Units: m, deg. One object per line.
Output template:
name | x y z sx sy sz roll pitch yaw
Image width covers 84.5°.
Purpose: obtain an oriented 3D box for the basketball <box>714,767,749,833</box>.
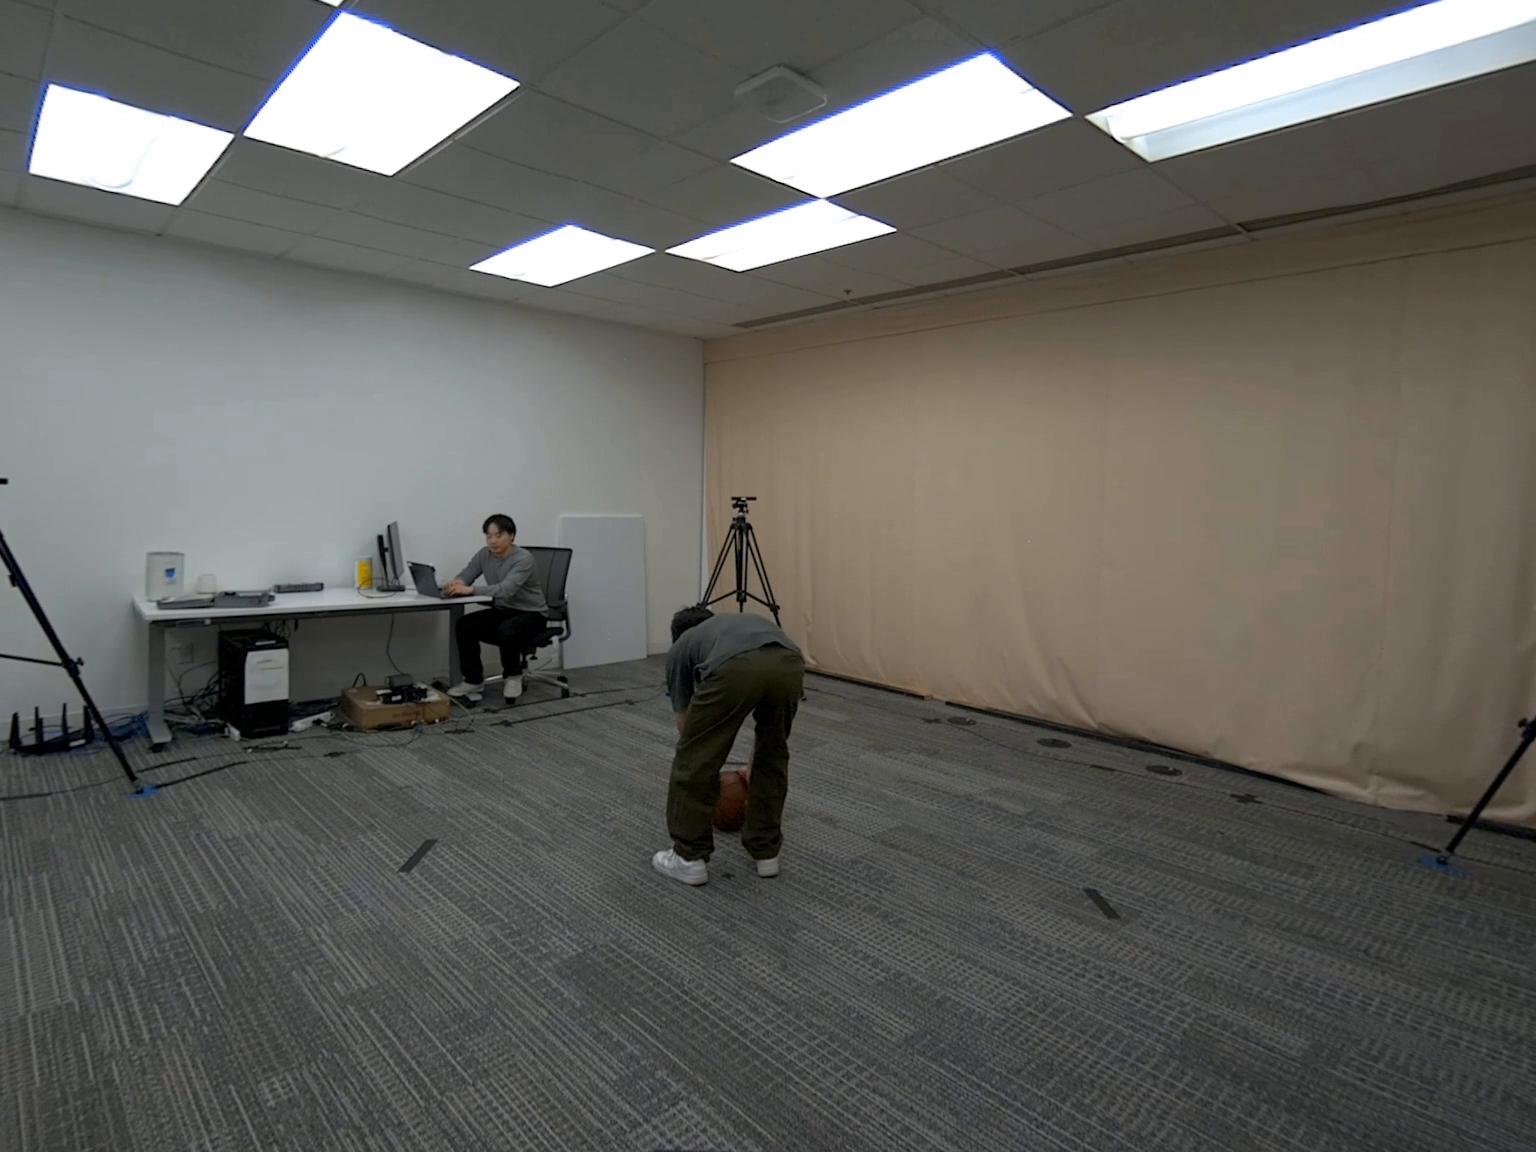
basketball | -0.167 0.948 3.564 0.236 0.235 0.237 1 4 -1
